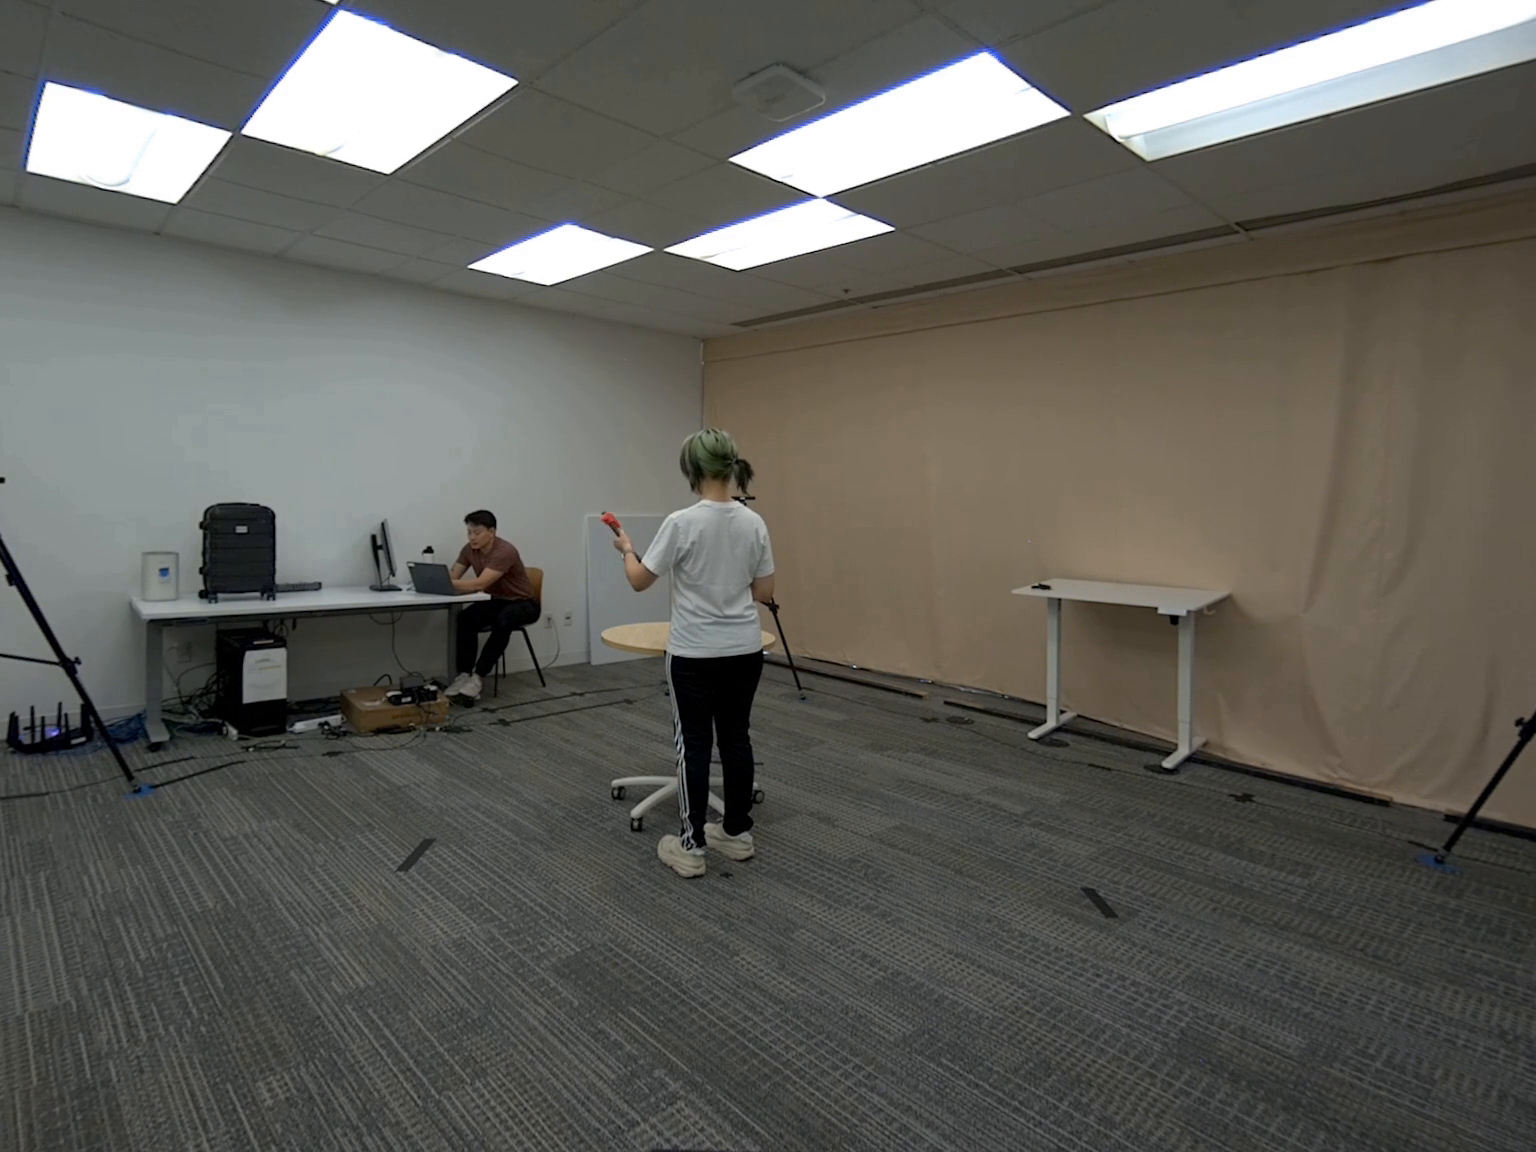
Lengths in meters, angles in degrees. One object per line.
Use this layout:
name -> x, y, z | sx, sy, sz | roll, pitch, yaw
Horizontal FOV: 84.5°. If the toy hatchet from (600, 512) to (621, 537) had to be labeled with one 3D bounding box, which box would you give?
toy hatchet -> -0.577, -0.153, 3.392 | 0.029, 0.266, 0.132 | -36, 14, 10
